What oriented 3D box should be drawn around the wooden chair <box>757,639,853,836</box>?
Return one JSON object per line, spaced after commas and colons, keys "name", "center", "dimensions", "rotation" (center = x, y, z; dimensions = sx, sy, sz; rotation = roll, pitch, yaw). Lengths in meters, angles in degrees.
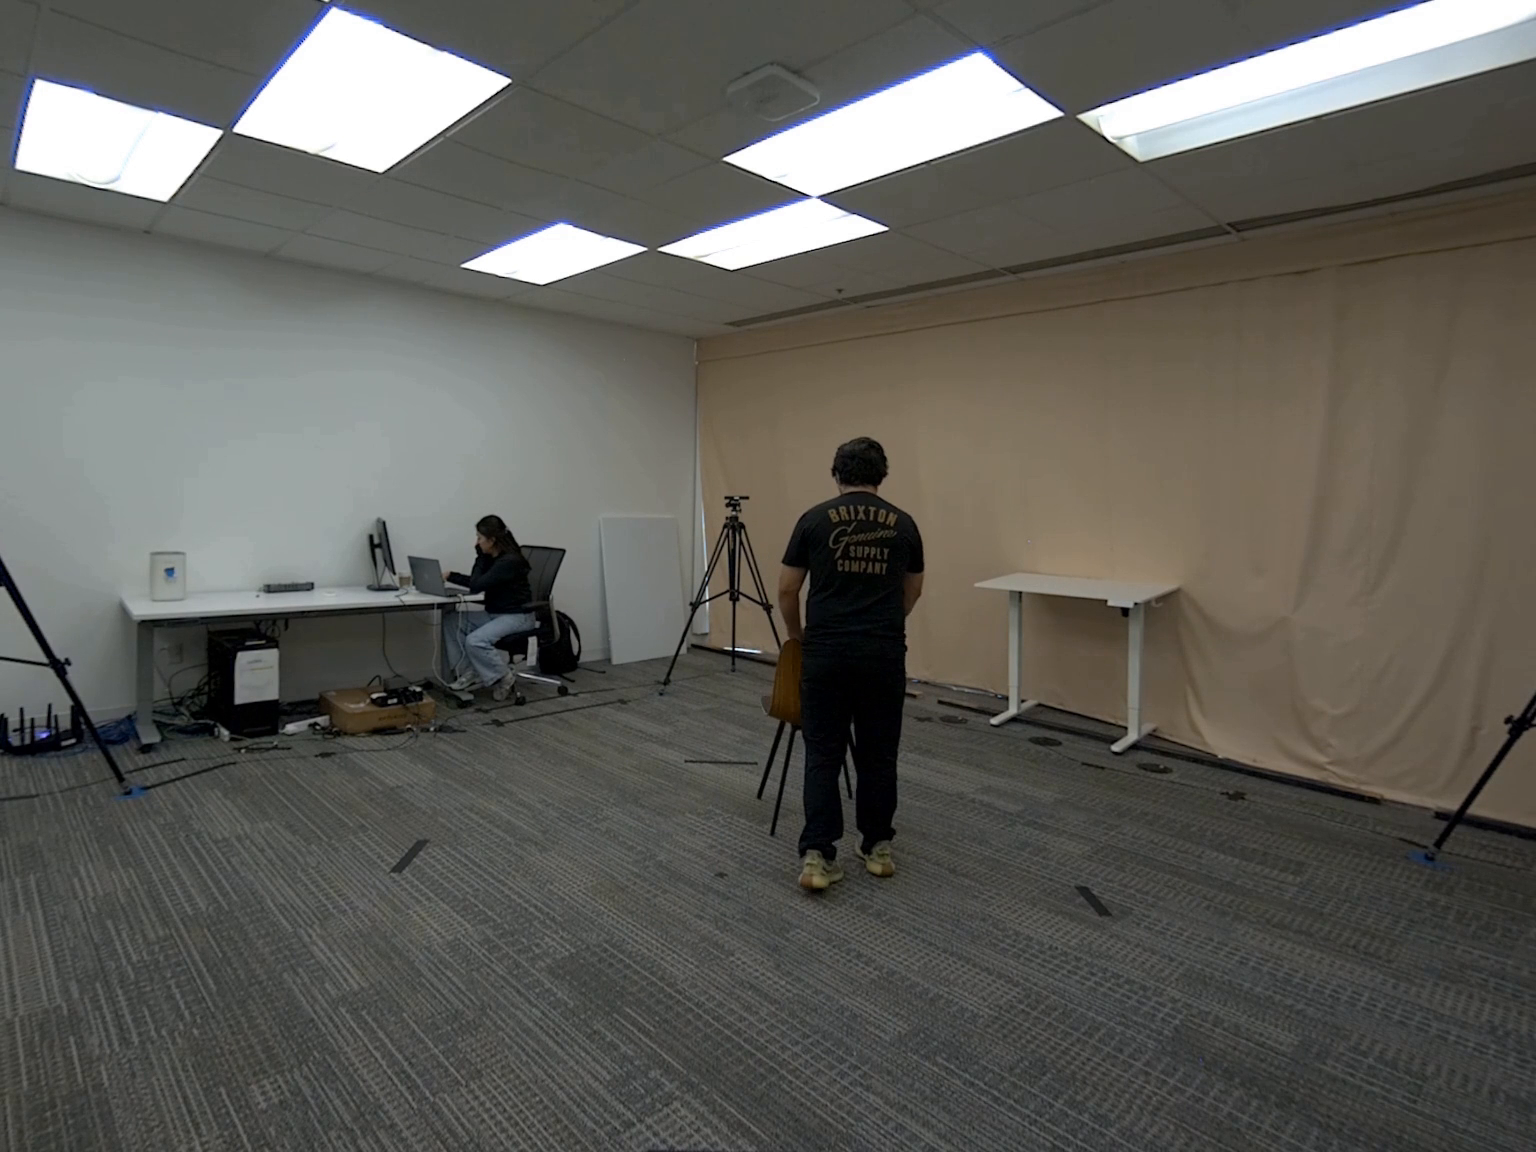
{"name": "wooden chair", "center": [0.203, 0.630, 3.698], "dimensions": [0.476, 0.873, 0.528], "rotation": [0, 7, -6]}
